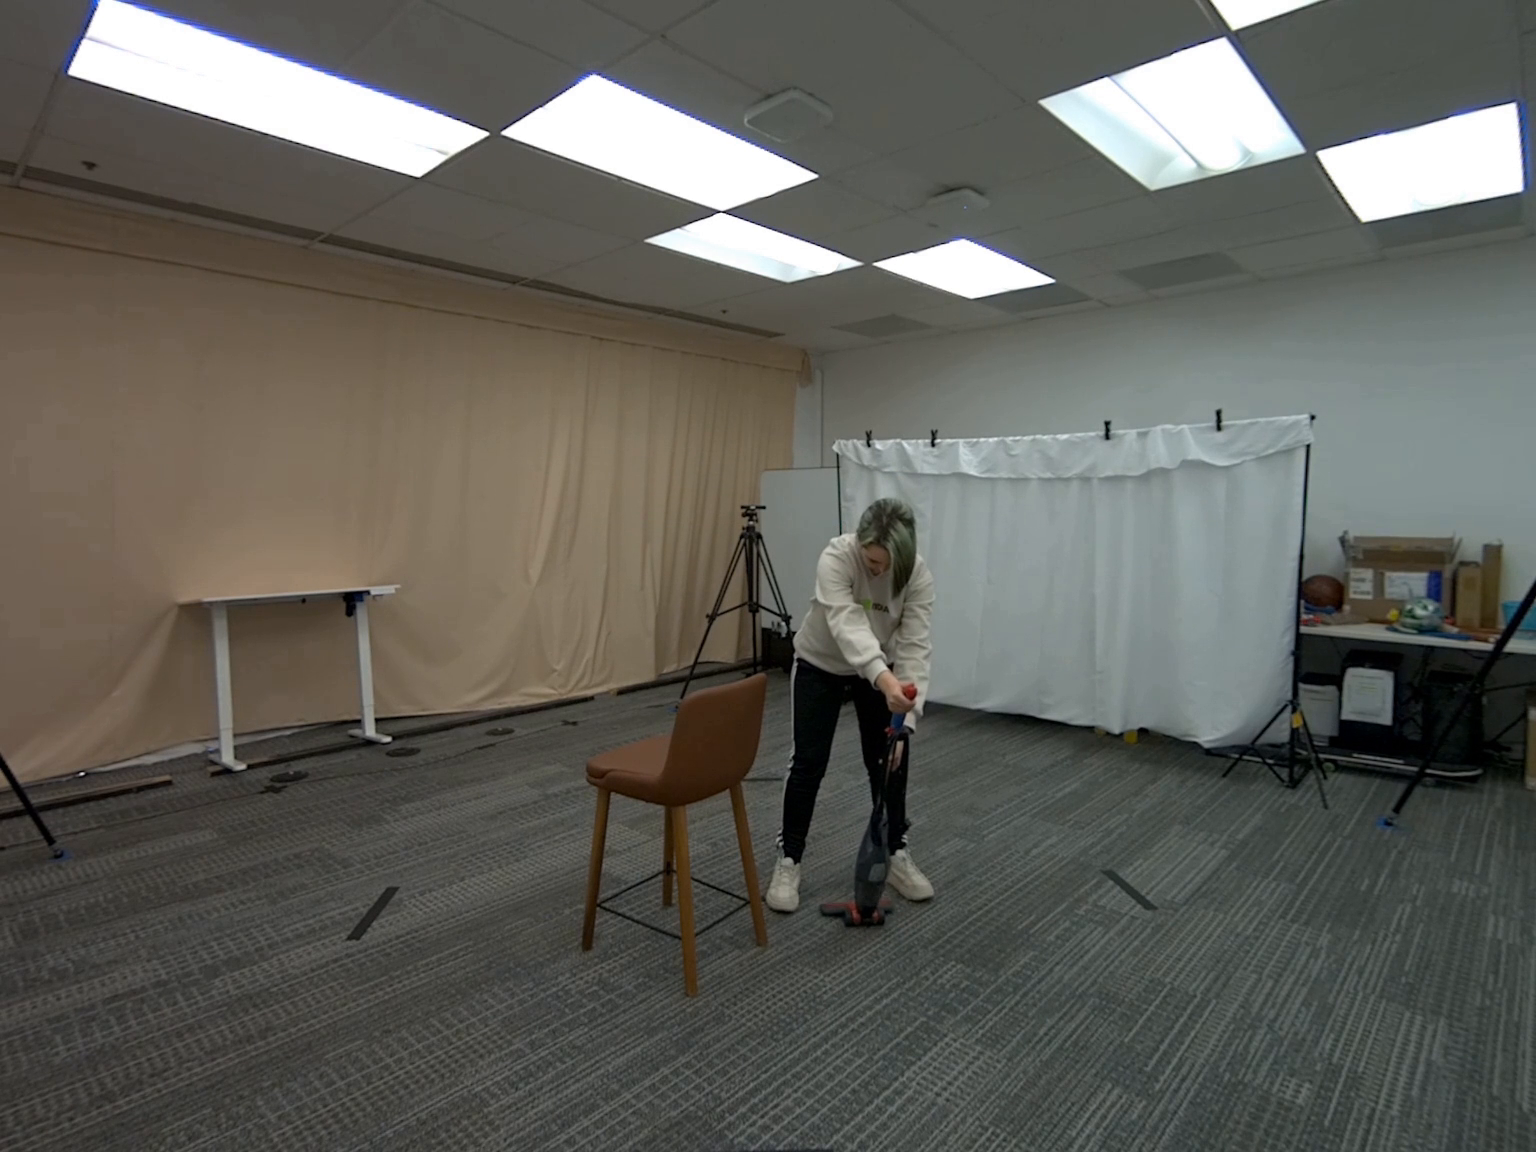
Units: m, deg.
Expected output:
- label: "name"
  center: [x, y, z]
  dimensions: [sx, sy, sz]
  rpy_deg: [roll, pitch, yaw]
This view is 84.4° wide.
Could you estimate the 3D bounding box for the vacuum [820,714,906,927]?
- label: "vacuum"
  center: [0.362, 0.732, 2.550]
  dimensions: [0.249, 1.034, 0.148]
  rpy_deg: [-2, 37, -14]
